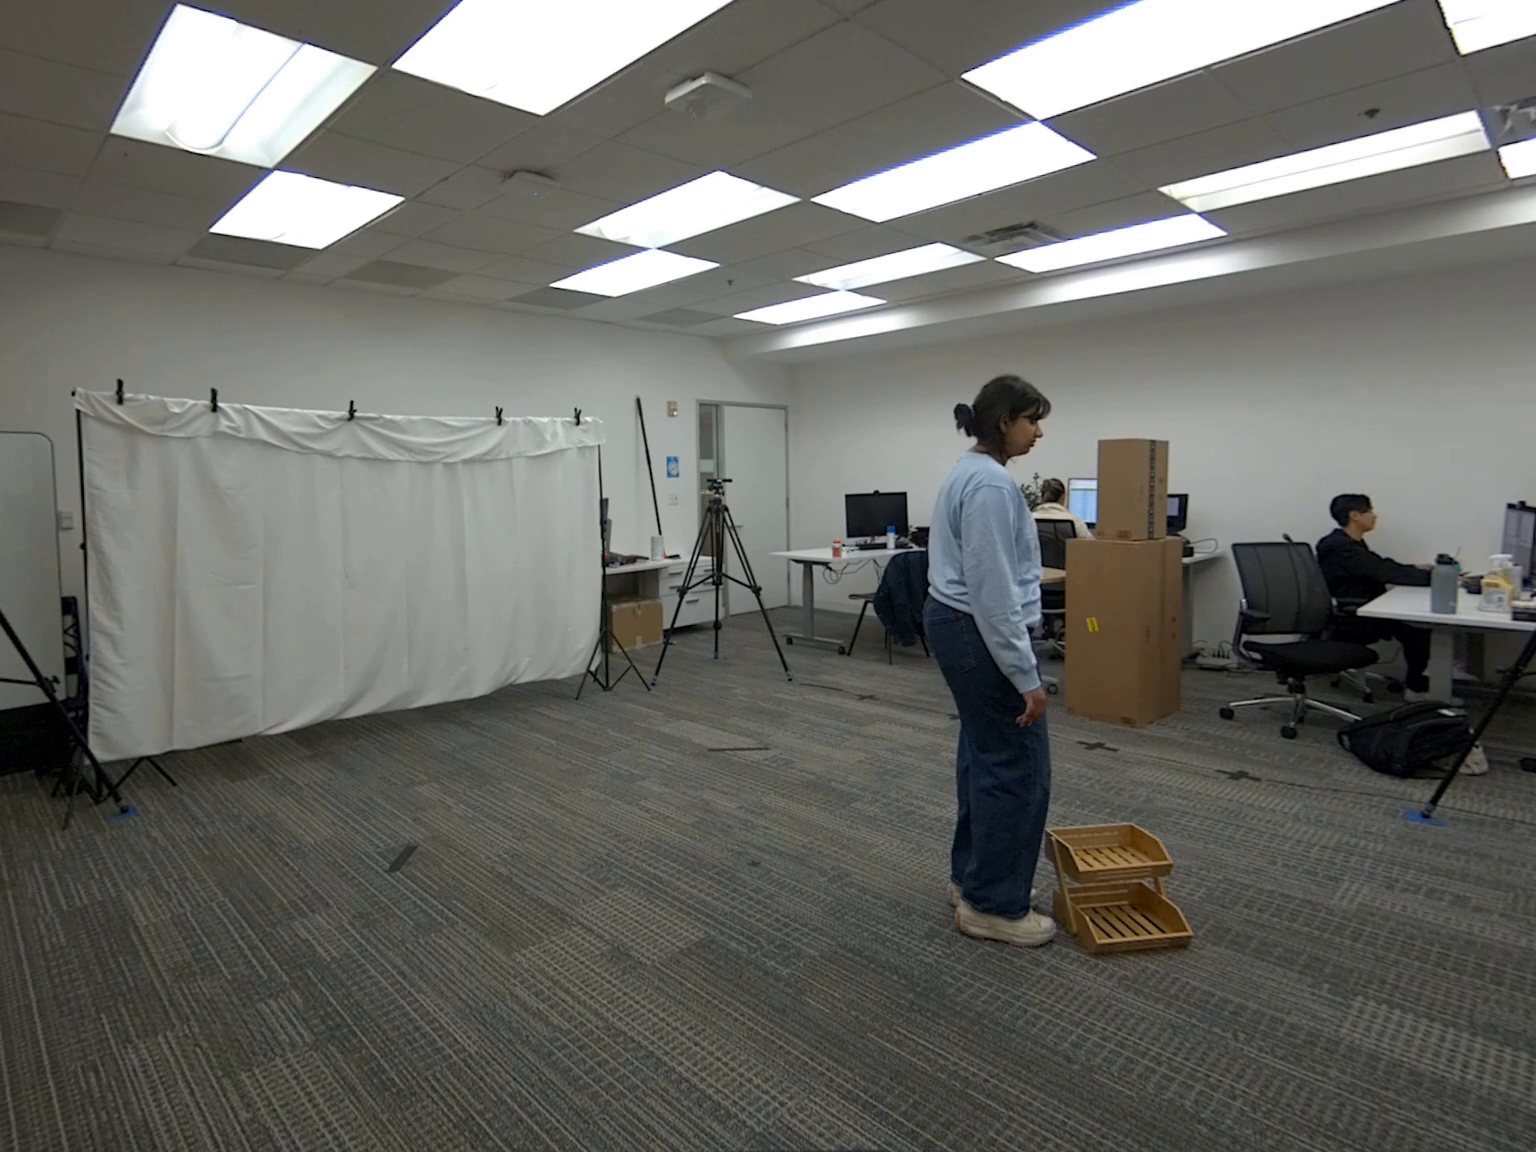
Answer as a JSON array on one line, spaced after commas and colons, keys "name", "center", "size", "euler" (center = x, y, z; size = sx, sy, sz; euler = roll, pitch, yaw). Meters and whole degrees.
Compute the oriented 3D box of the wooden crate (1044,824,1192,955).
[{"name": "wooden crate", "center": [1.068, 0.945, 2.609], "size": [0.322, 0.272, 0.305], "euler": [-2, 4, -8]}]
